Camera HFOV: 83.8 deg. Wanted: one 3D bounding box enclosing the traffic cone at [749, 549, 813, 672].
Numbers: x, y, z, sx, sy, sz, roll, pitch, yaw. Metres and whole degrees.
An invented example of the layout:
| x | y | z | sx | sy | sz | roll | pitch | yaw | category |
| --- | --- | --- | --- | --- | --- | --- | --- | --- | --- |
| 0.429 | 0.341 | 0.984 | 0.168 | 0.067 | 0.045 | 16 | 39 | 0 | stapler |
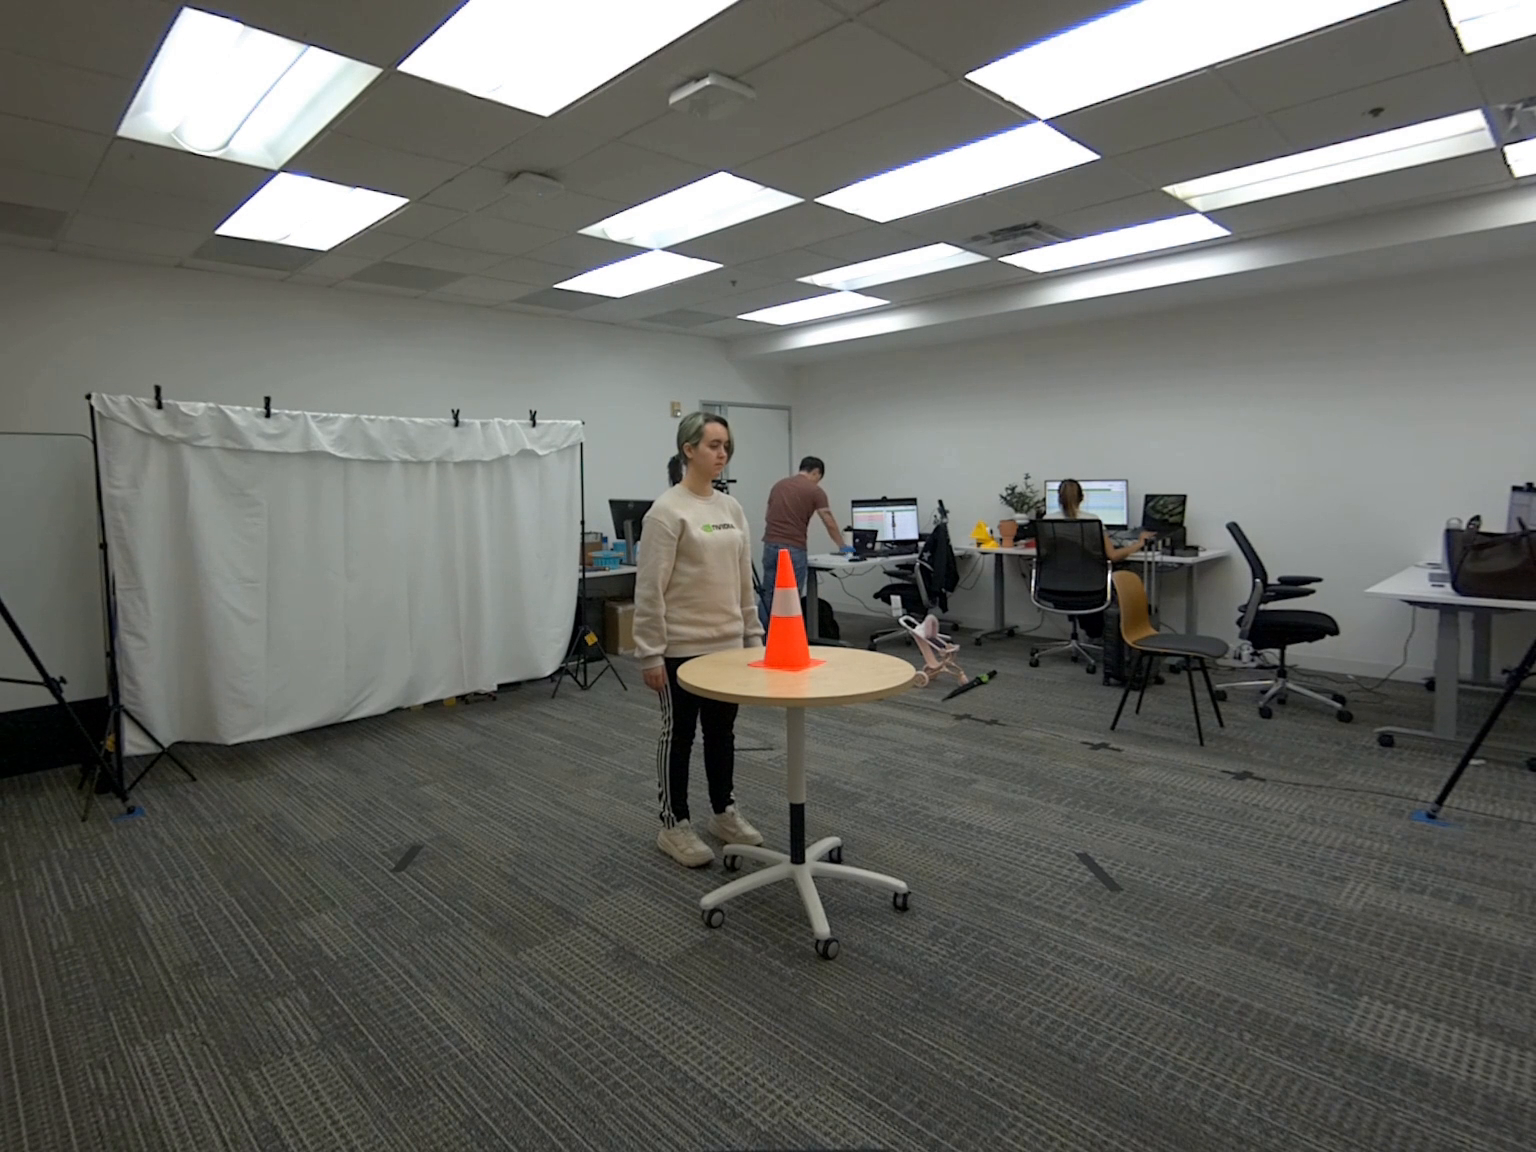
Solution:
| x | y | z | sx | sy | sz | roll | pitch | yaw | category |
| --- | --- | --- | --- | --- | --- | --- | --- | --- | --- |
| 0.061 | 0.106 | 2.830 | 0.209 | 0.382 | 0.200 | 2 | 5 | 34 | traffic cone |
